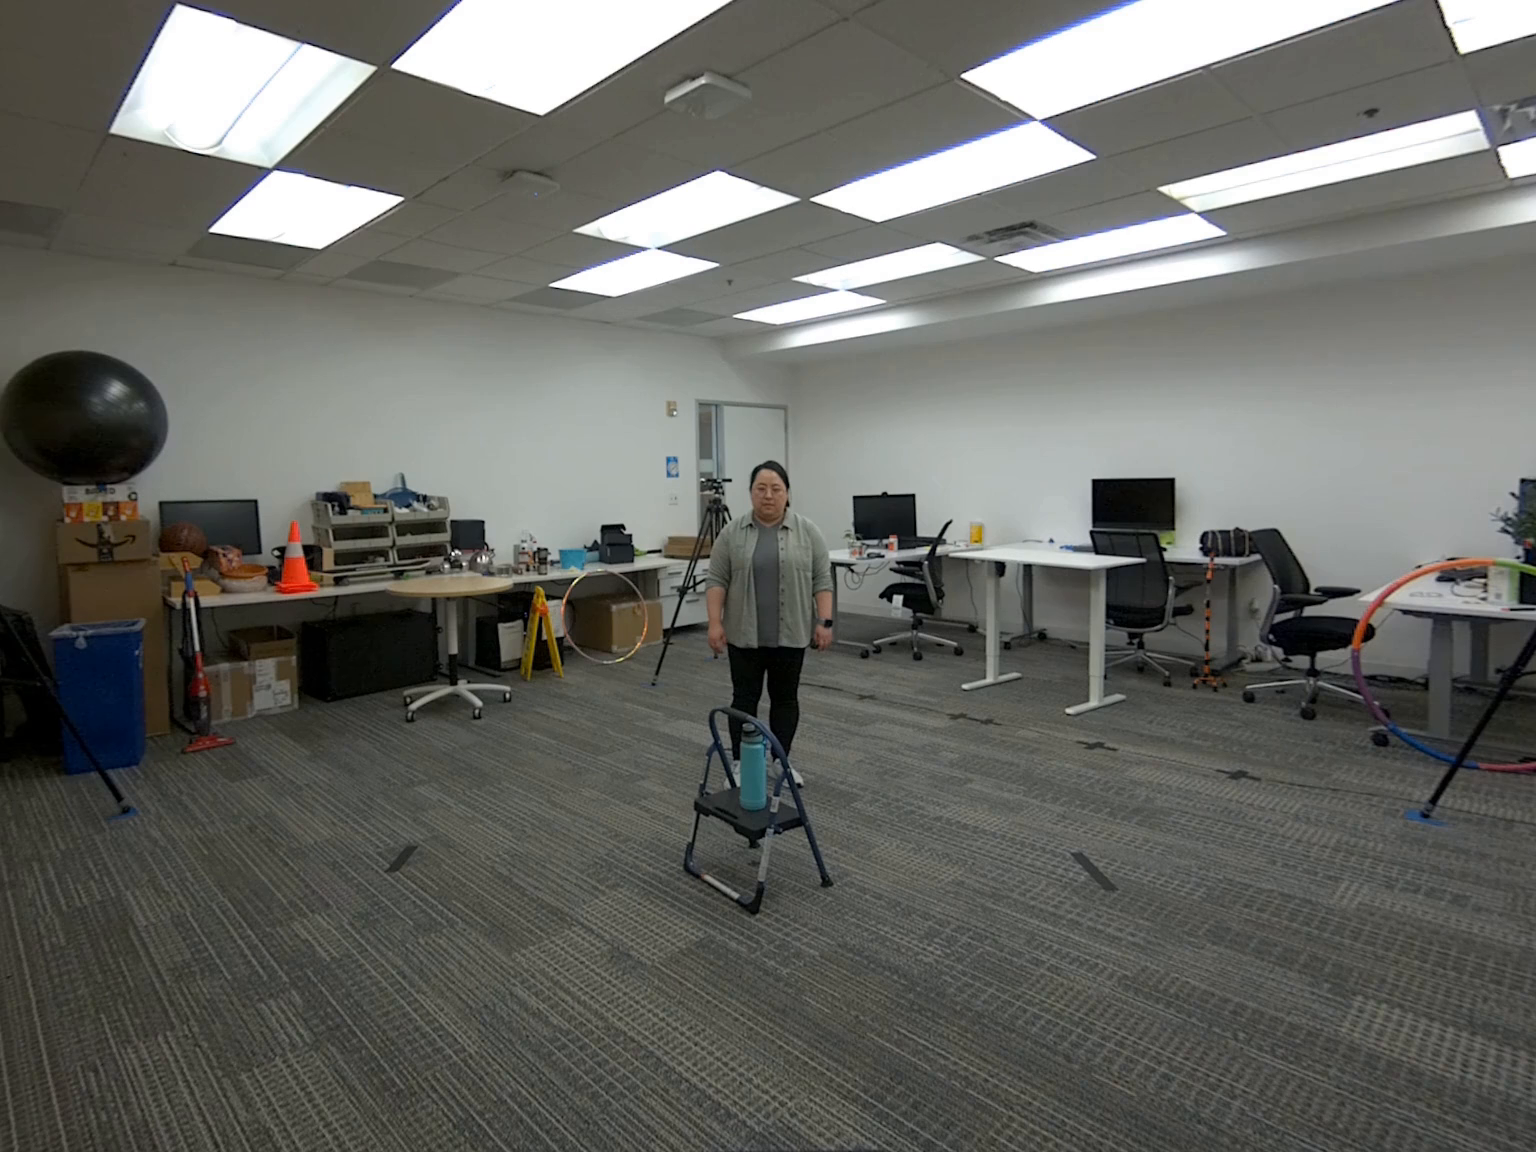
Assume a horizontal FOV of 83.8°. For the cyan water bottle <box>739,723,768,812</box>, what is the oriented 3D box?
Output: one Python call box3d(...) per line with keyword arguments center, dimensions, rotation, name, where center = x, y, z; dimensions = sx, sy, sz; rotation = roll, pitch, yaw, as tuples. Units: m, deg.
box3d(center=(-0.048, 0.662, 2.963), dimensions=(0.092, 0.283, 0.092), rotation=(2, 3, -2), name="cyan water bottle")
